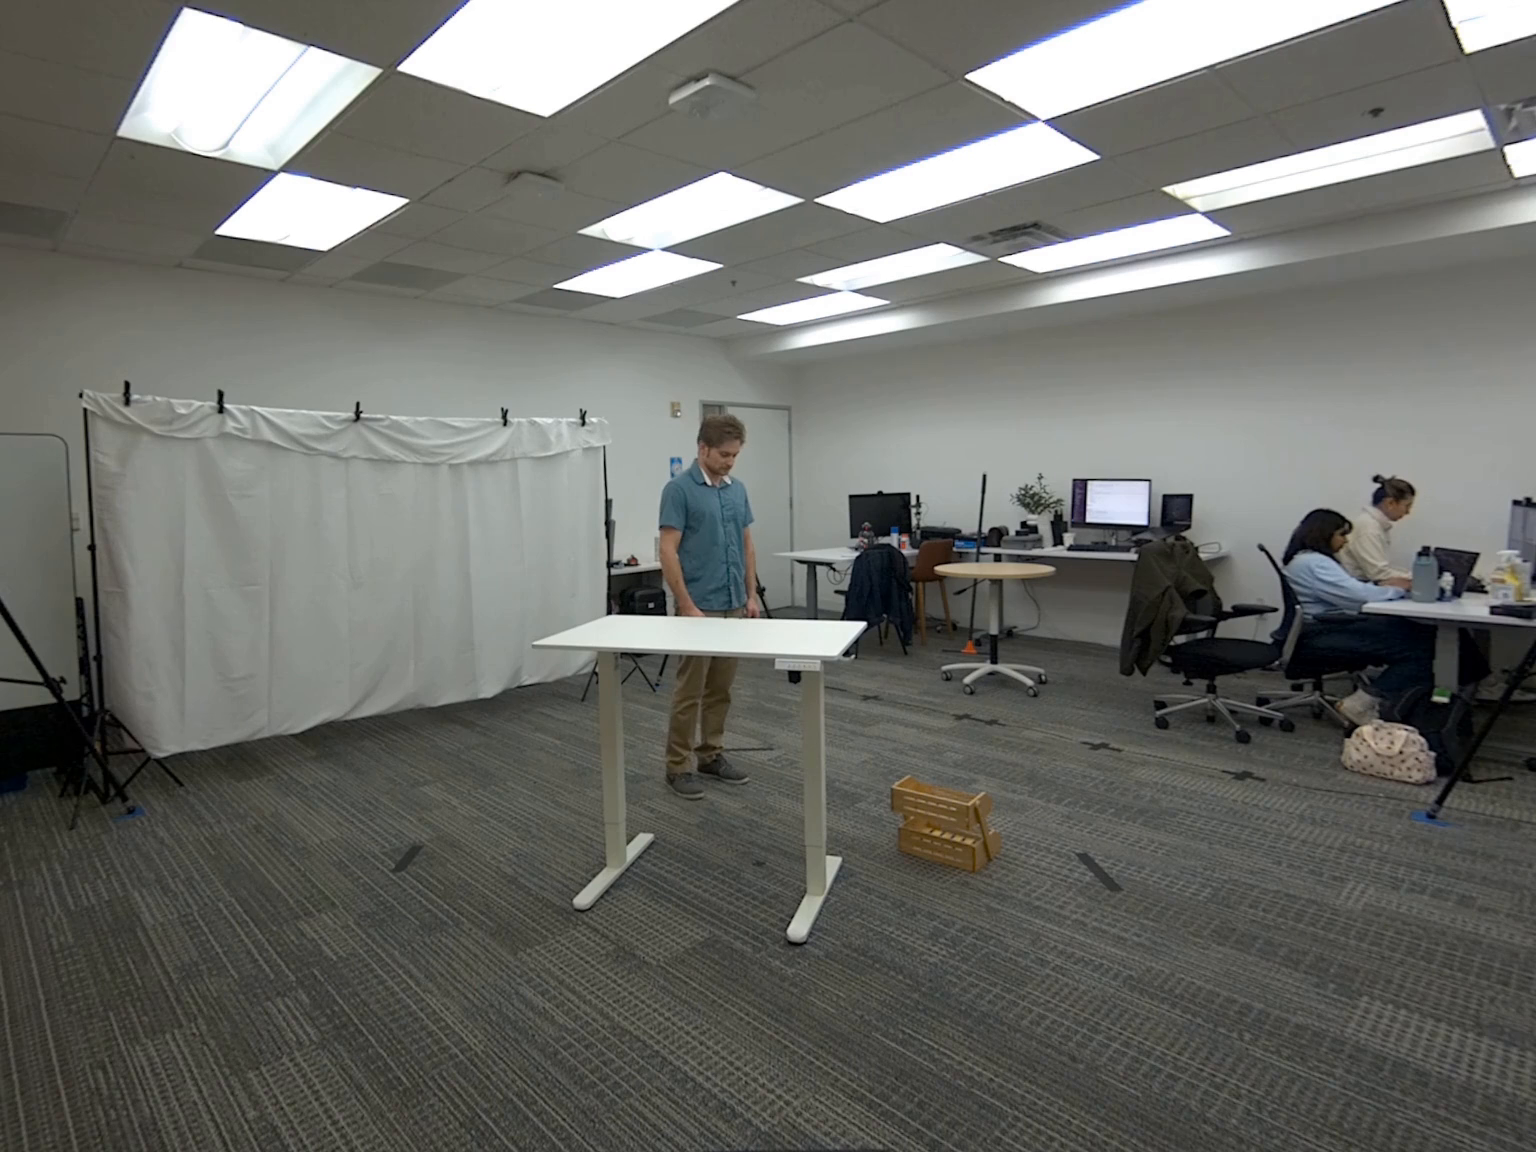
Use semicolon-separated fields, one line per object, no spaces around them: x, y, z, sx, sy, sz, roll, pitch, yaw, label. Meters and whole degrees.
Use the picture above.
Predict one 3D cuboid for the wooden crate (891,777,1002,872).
0.668;0.895;3.171;0.334;0.272;0.294;3;6;37;wooden crate
